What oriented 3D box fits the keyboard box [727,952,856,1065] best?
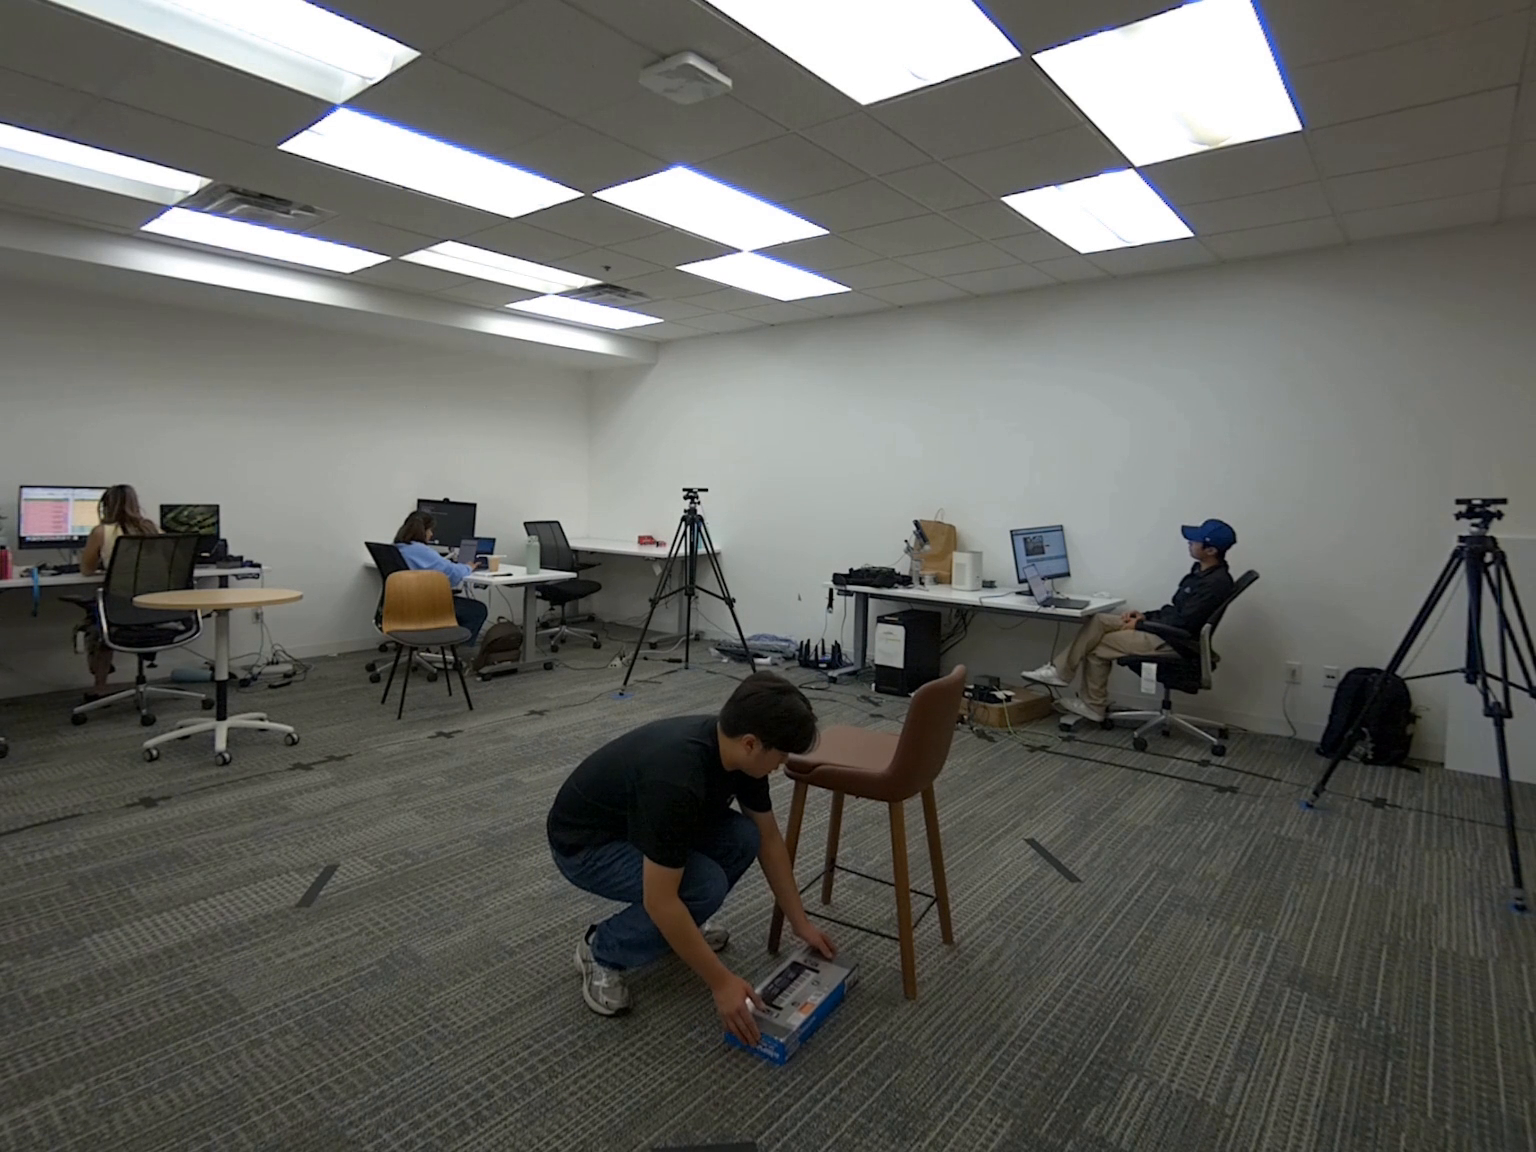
[{"bbox_3d":[0.068,1.136,2.274,0.181,0.059,0.425,6,7,32],"label":"keyboard box"}]
